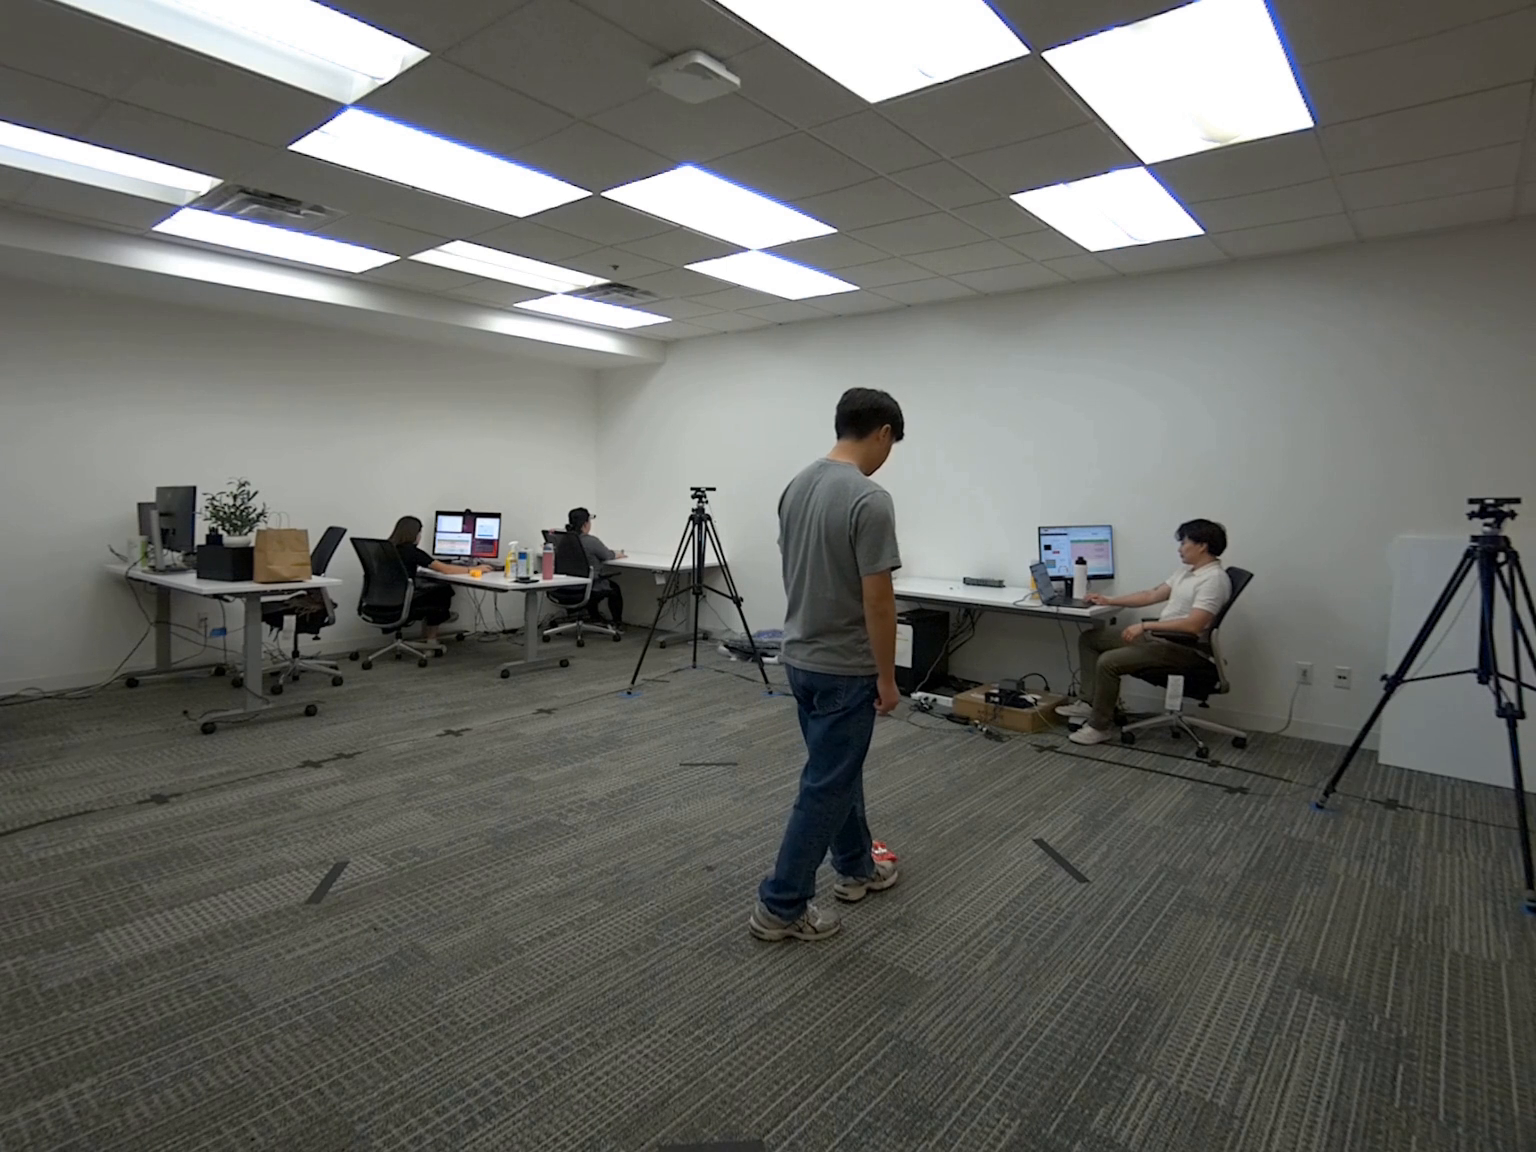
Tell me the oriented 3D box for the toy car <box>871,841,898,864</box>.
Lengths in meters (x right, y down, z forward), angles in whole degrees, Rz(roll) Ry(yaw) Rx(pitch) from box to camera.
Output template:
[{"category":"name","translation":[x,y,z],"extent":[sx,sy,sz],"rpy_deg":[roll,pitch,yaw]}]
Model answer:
[{"category":"toy car","translation":[0.372,1.033,3.188],"extent":[0.127,0.084,0.259],"rpy_deg":[0,-7,-29]}]
